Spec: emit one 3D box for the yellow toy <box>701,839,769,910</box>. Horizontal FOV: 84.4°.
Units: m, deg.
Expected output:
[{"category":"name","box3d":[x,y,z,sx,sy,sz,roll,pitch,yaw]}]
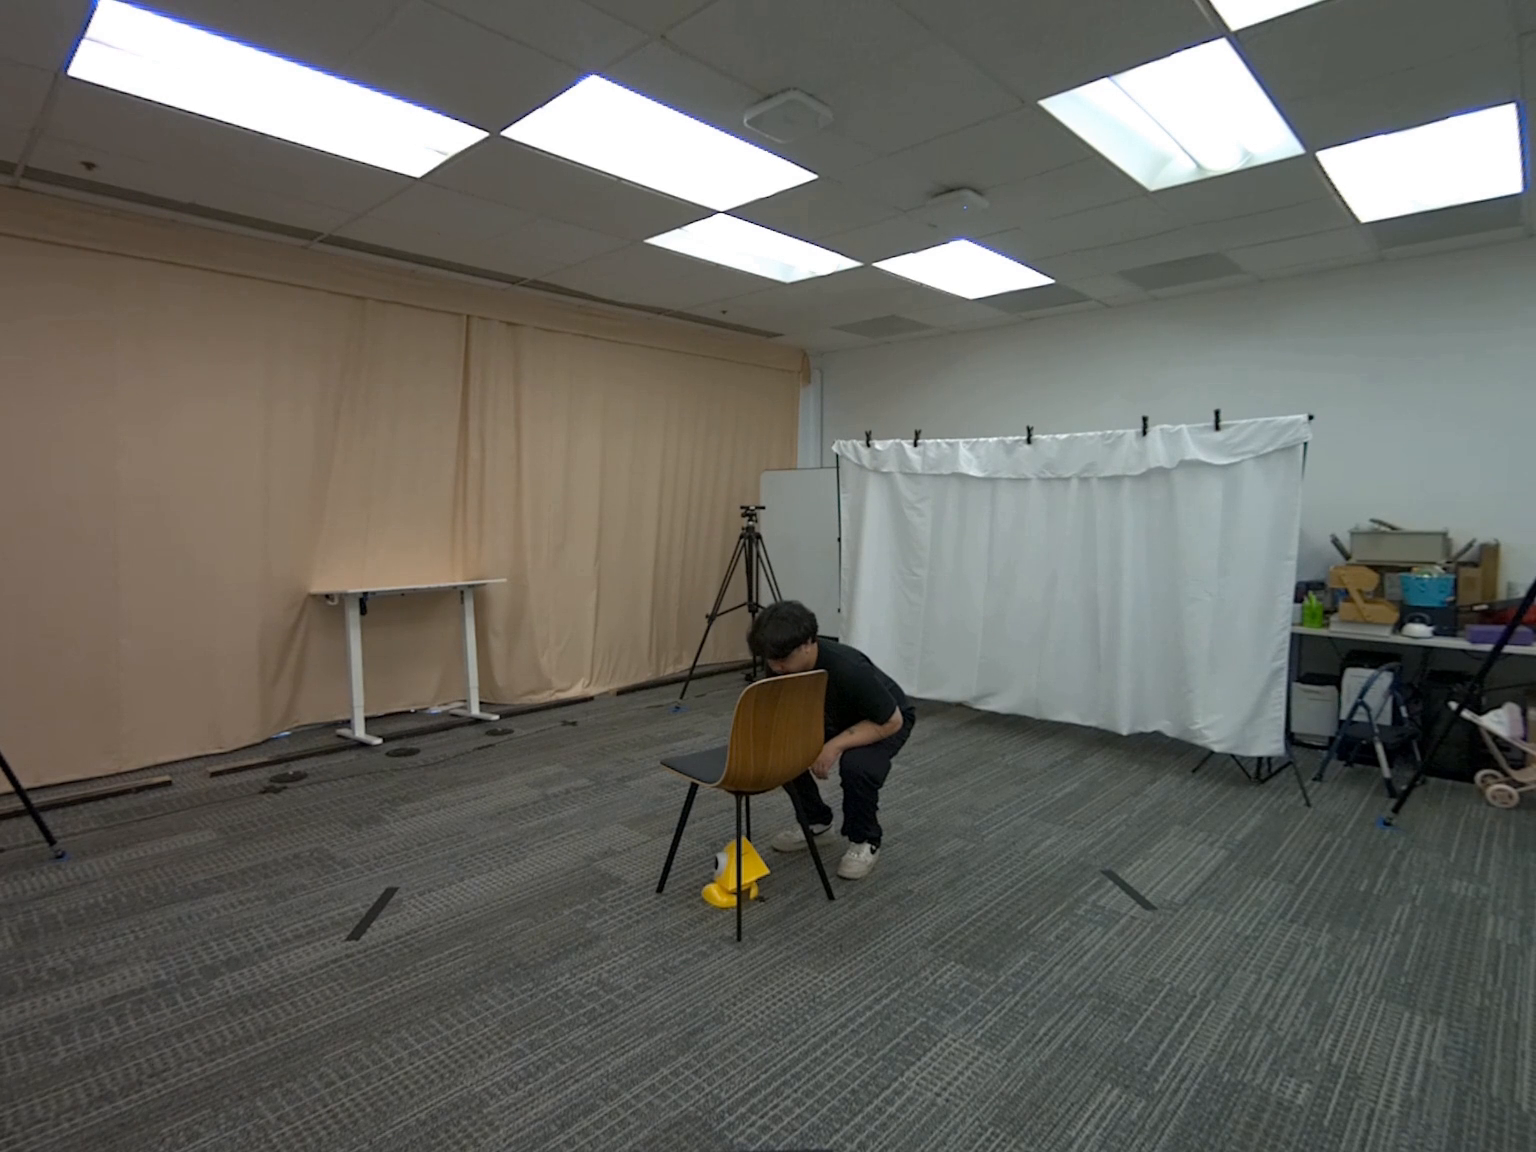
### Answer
[{"category":"yellow toy","box3d":[-0.129,1.033,3.007,0.198,0.230,0.199,-3,4,-45]}]
